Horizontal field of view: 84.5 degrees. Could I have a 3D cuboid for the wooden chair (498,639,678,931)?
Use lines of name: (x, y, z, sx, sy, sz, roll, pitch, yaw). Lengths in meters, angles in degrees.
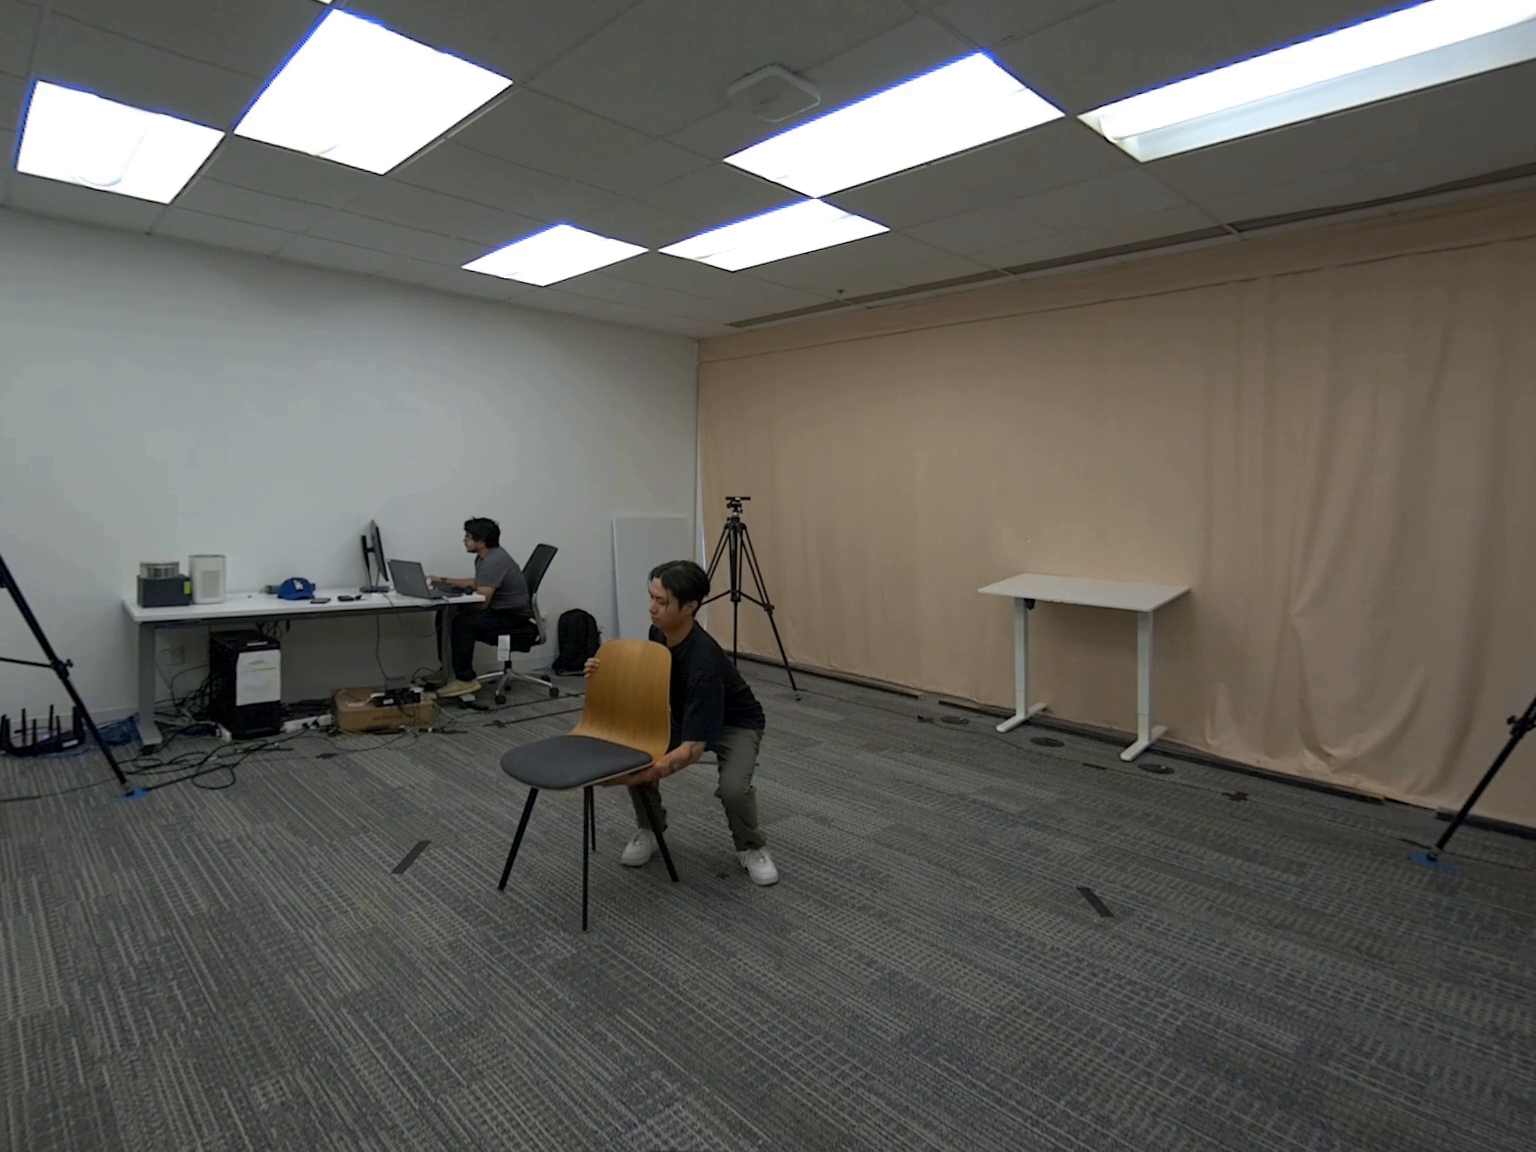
wooden chair: (-0.630, 0.673, 2.951, 0.490, 0.877, 0.510, 4, 0, 37)
